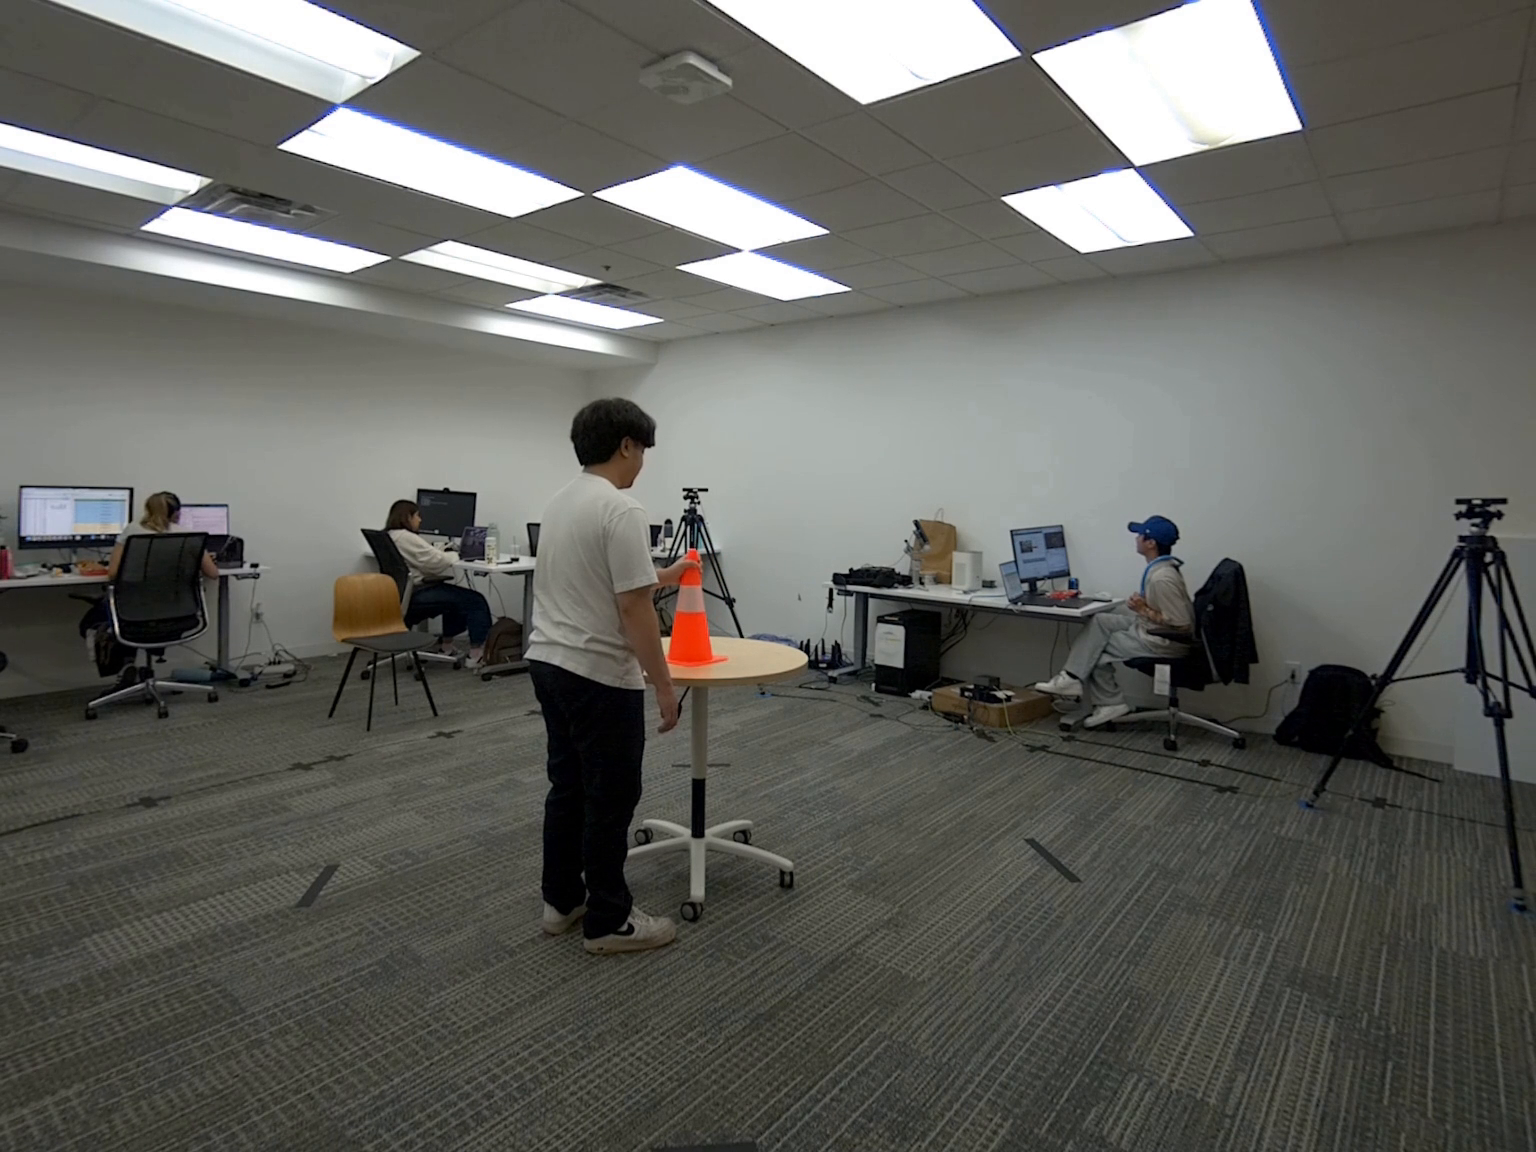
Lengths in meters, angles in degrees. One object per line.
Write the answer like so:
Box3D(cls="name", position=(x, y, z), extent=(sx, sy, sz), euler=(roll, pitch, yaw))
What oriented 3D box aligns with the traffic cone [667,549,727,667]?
Box3D(cls="traffic cone", position=(-0.275, 0.093, 2.949), extent=(0.211, 0.382, 0.198), euler=(3, 5, 35))
